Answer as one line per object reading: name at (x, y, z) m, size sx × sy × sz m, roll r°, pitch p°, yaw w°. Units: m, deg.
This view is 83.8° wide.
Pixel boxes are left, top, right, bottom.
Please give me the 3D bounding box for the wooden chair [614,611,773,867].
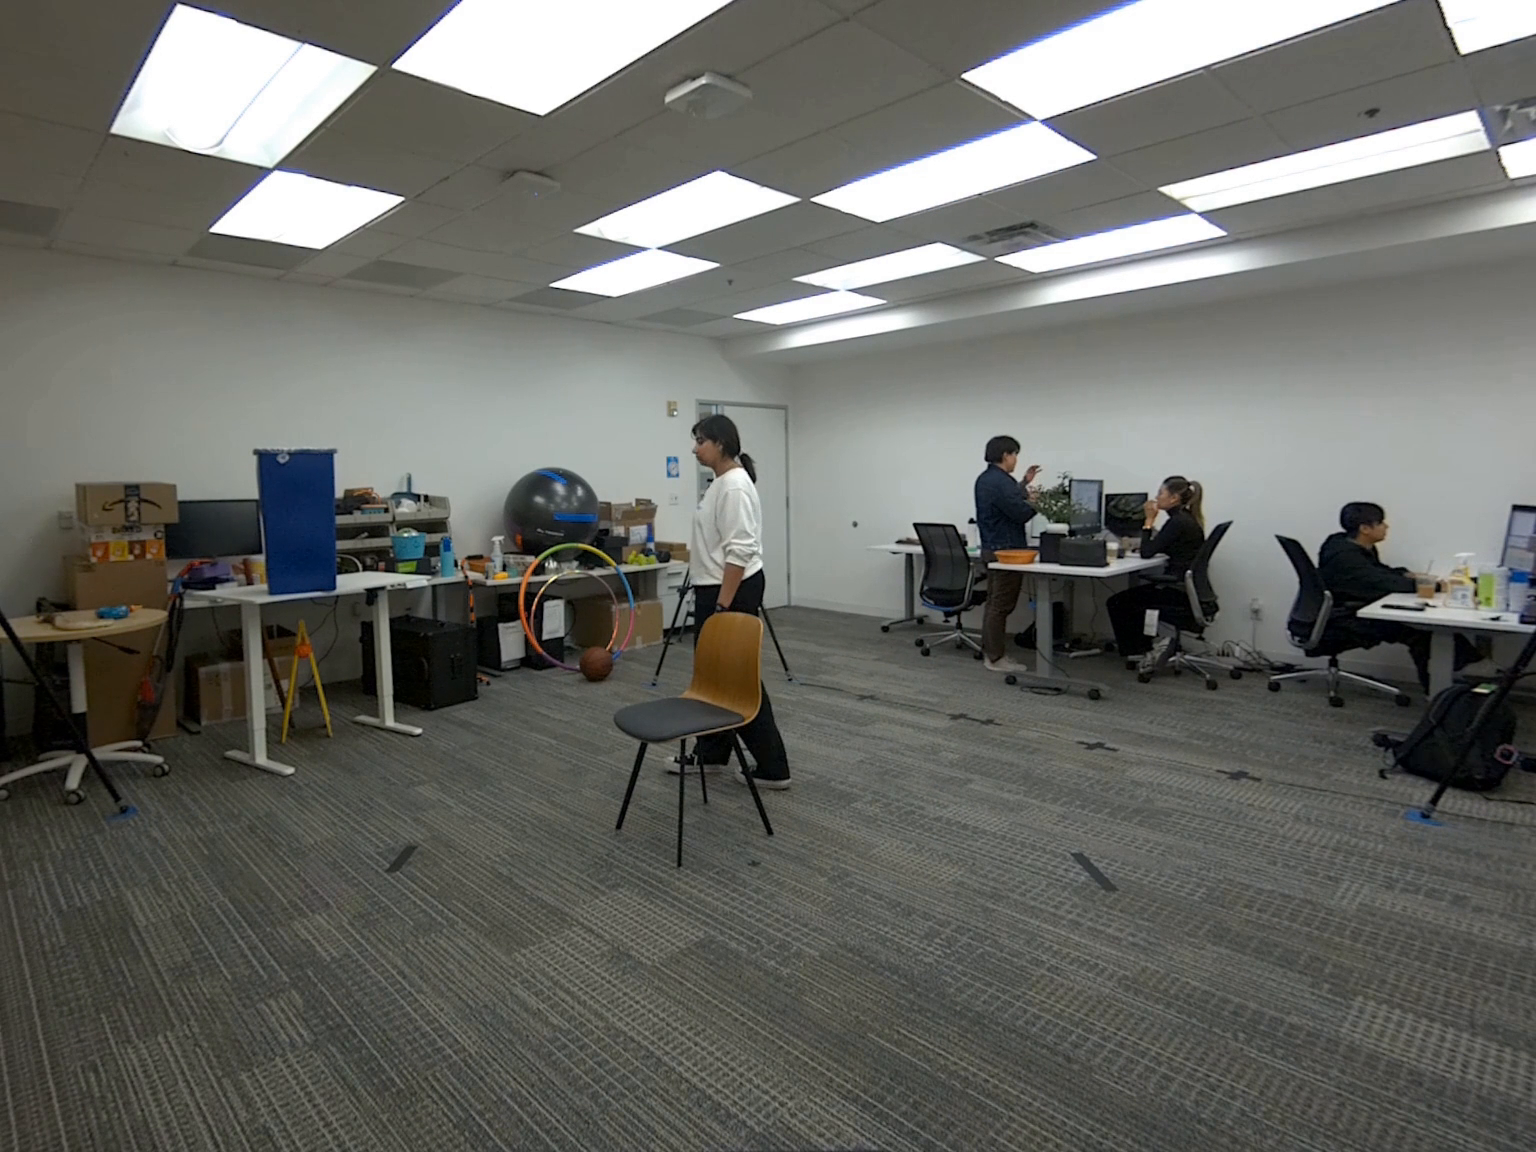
wooden chair at (-0.307, 0.595, 3.358) m, size 0.508 × 0.876 × 0.493 m, roll 2°, pitch 2°, yaw -39°
